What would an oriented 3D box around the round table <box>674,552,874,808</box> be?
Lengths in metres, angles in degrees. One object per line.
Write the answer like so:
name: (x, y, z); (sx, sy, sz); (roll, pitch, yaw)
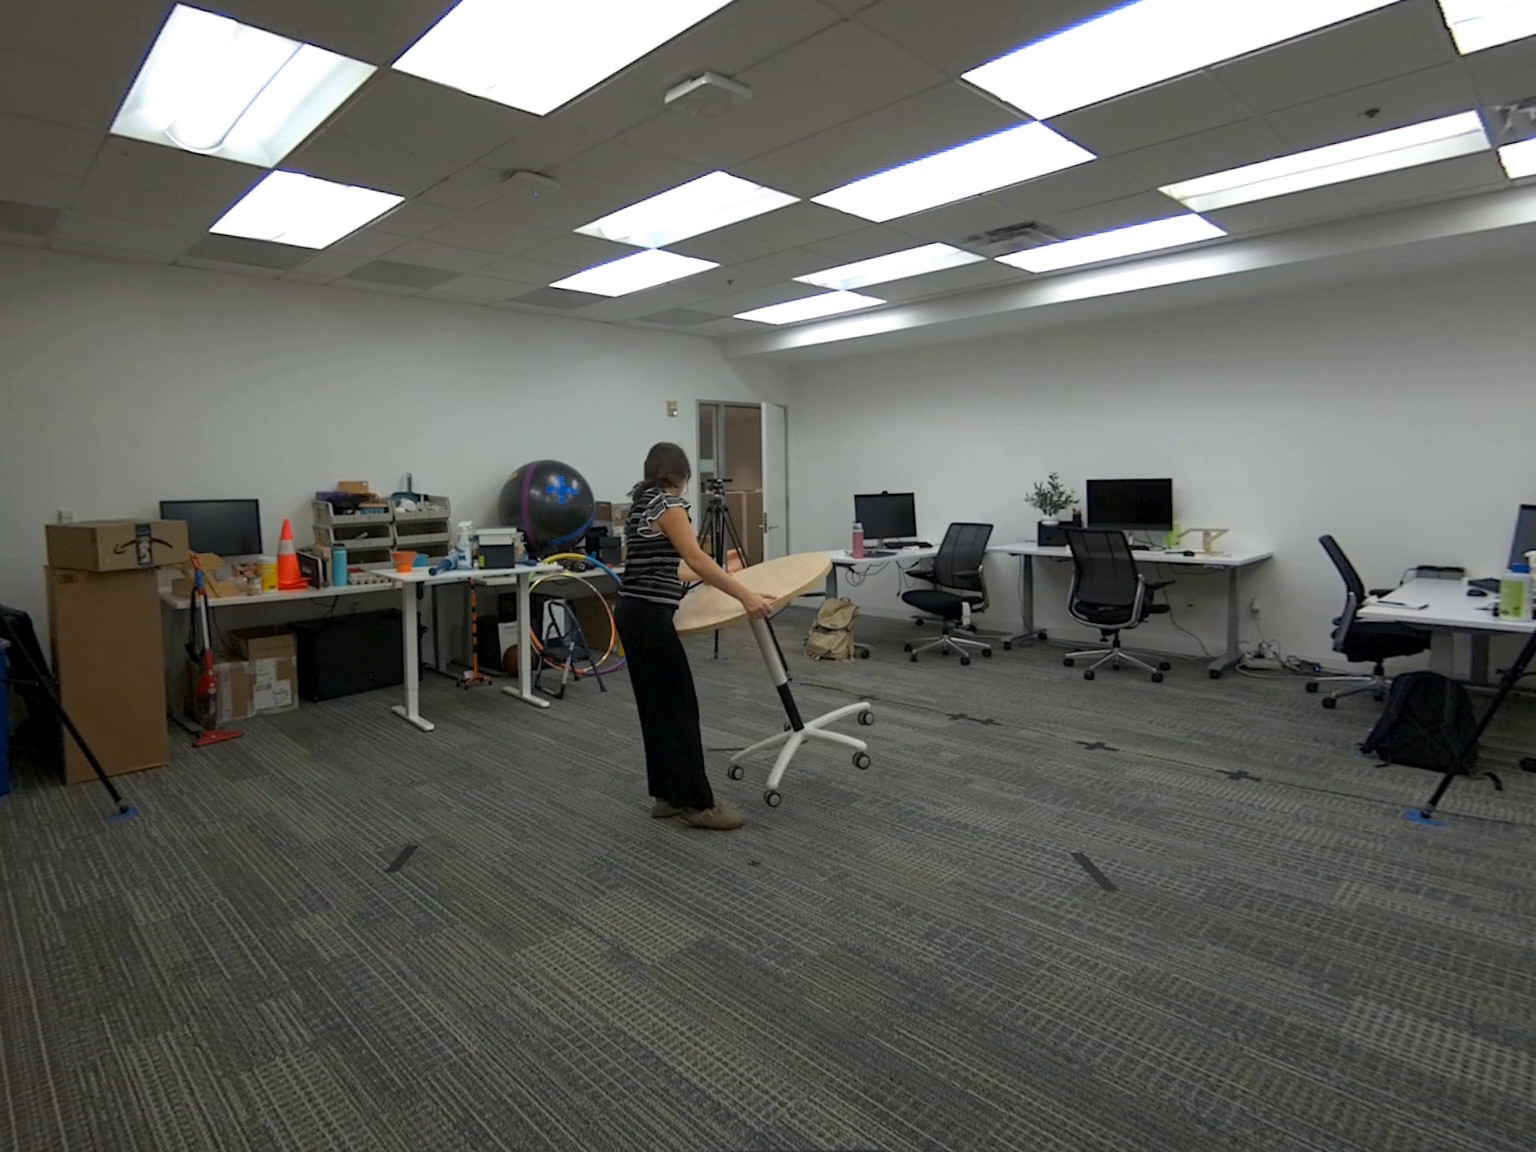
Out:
round table: (0.038, 0.425, 3.636); (0.765, 0.785, 0.772); (-20, 10, 2)
